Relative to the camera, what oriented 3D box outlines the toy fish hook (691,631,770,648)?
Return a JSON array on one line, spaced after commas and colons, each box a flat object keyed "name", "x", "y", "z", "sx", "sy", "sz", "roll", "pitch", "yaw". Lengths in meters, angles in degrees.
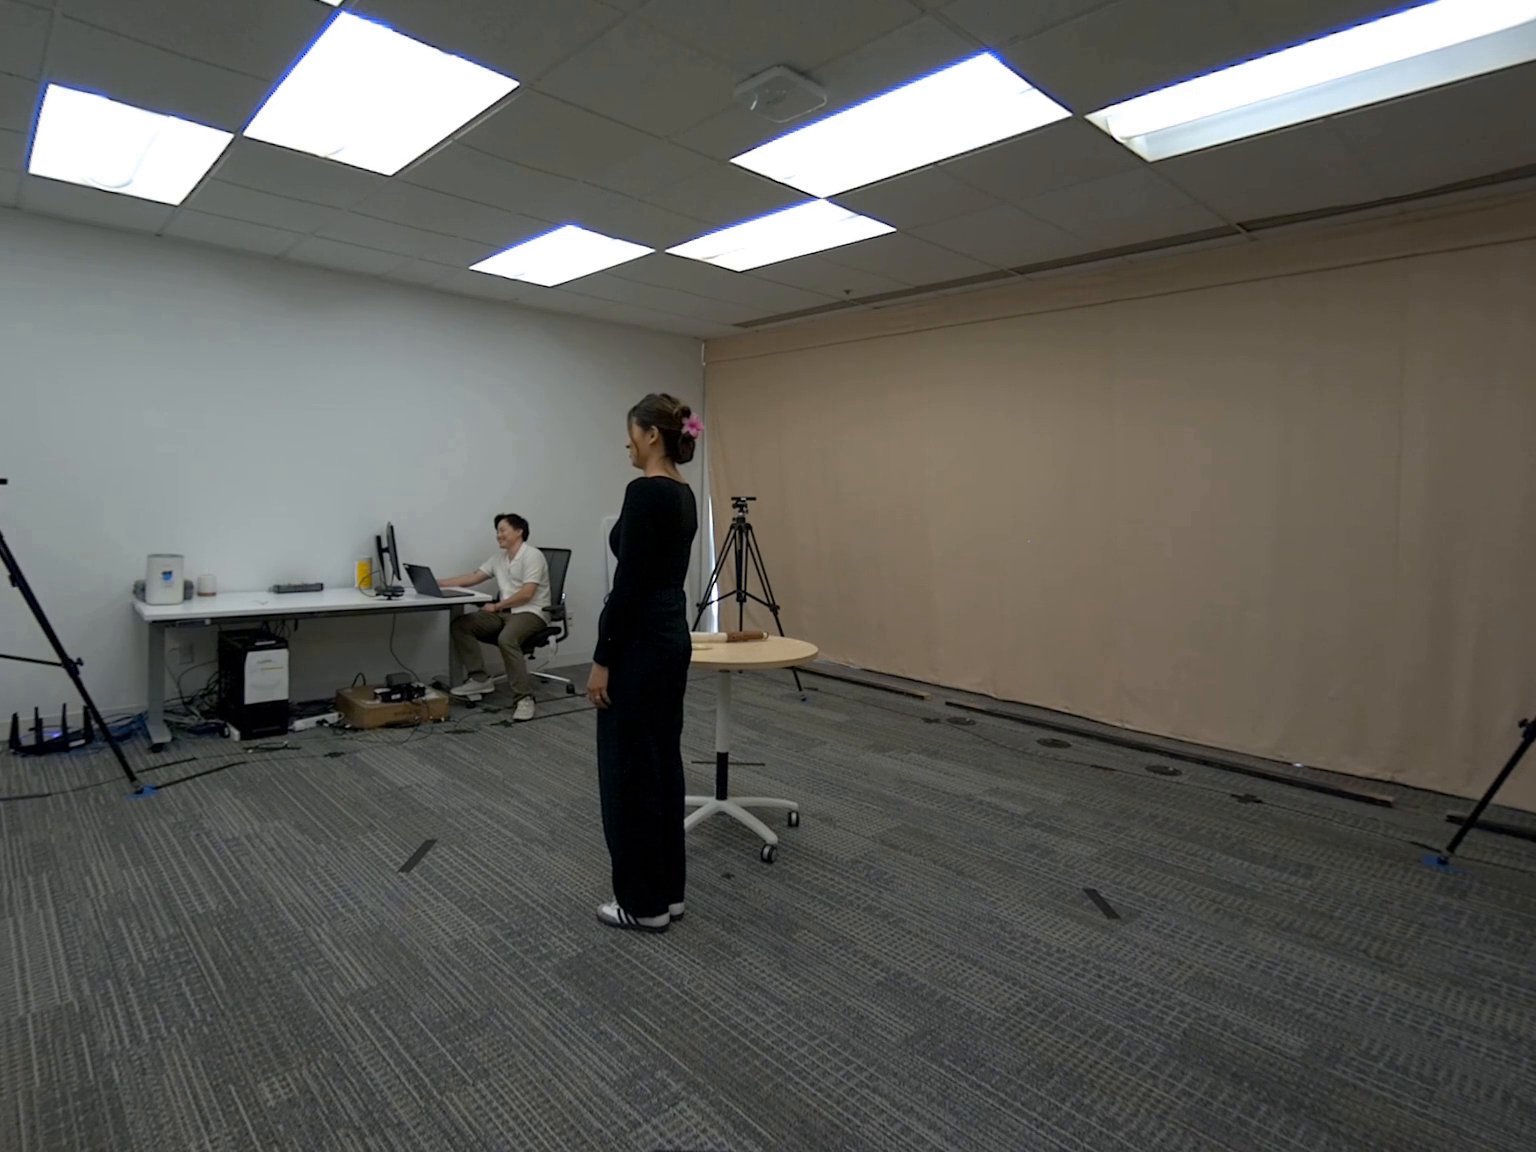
[{"name": "toy fish hook", "x": -0.216, "y": 0.277, "z": 3.521, "sx": 0.498, "sy": 0.048, "sz": 0.230, "roll": -2, "pitch": 15, "yaw": -24}]
